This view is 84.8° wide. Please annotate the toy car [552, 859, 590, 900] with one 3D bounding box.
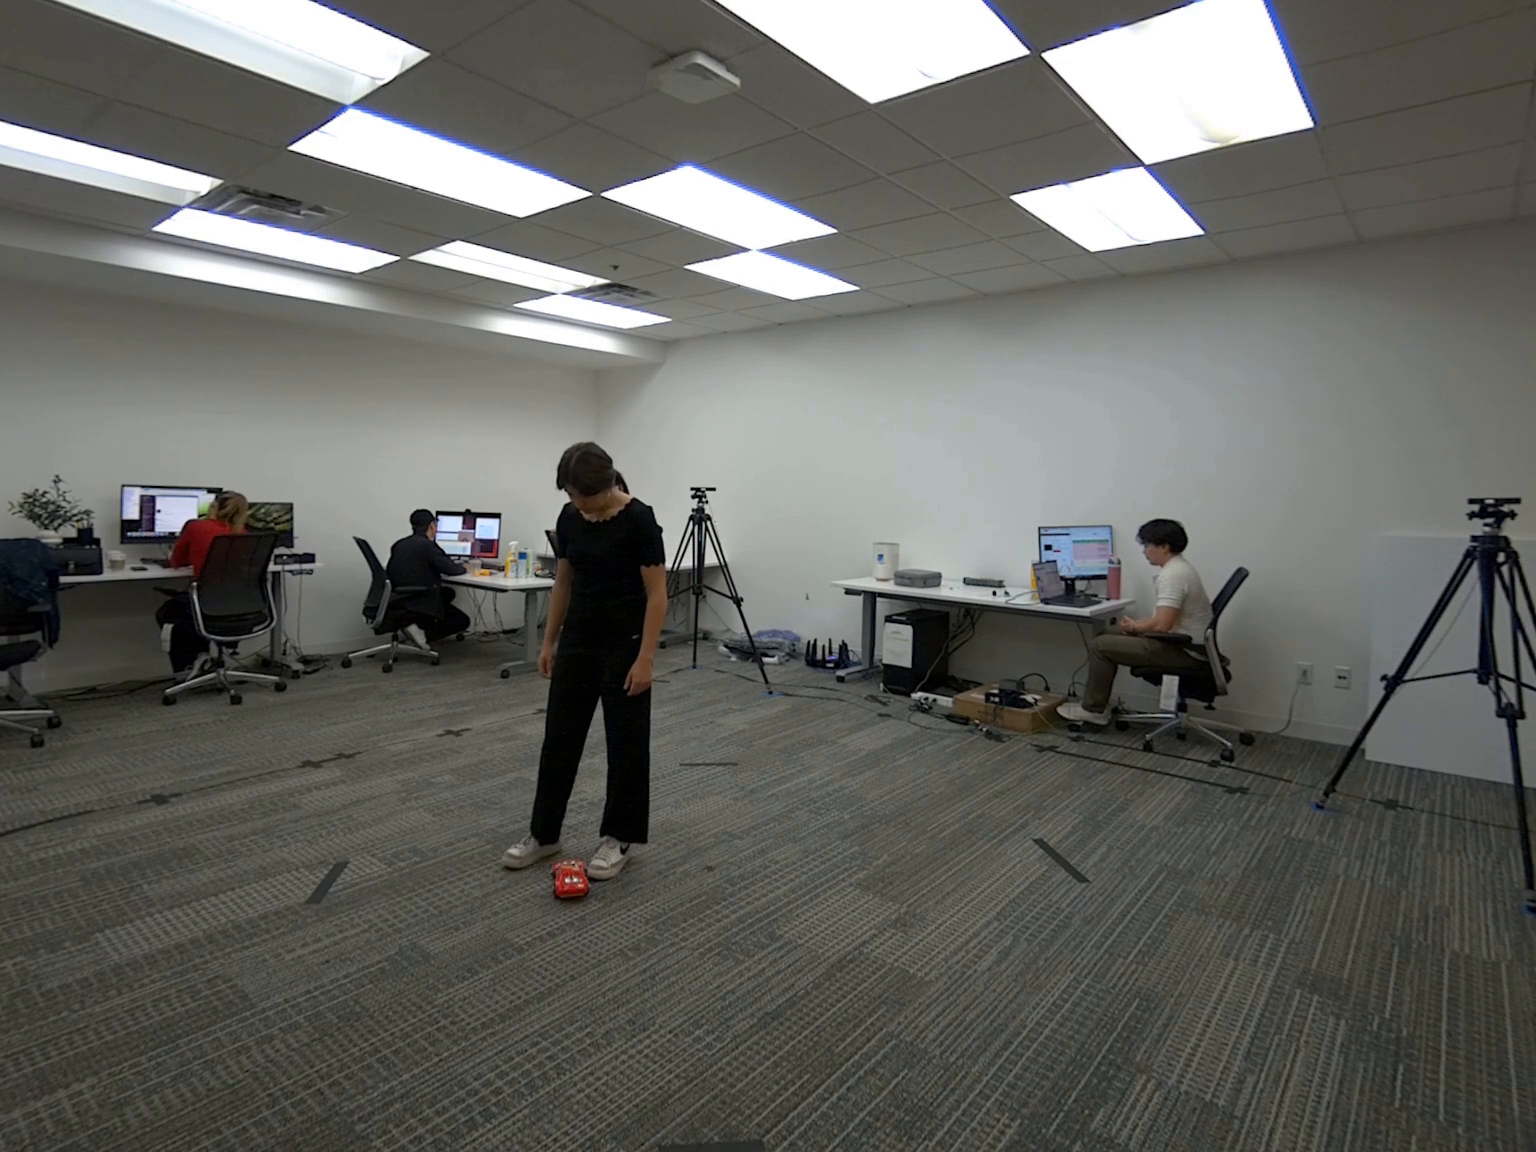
[{"bbox_3d":[-0.691,1.041,2.926,0.128,0.084,0.256,0,-6,-15],"label":"toy car"}]
